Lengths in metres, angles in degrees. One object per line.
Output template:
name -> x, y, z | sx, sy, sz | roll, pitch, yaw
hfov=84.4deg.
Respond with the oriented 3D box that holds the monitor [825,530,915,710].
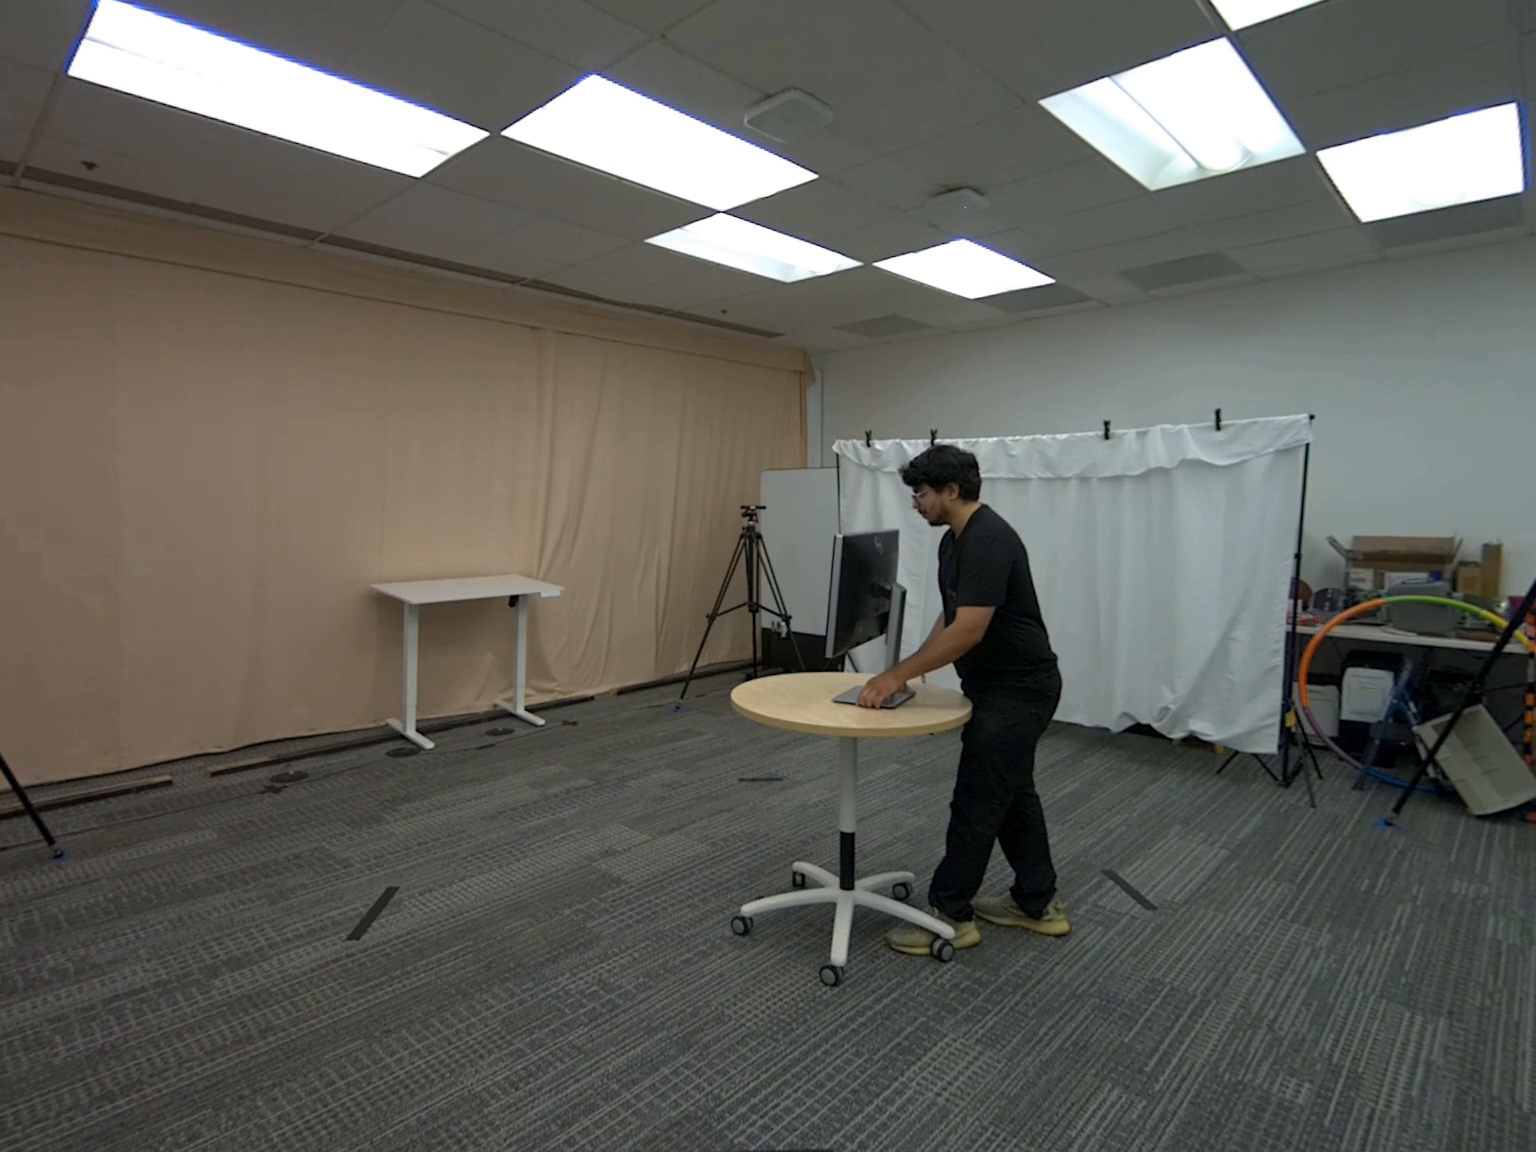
monitor -> 0.375, 0.134, 2.665 | 0.216, 0.552, 0.551 | 3, 5, 27
